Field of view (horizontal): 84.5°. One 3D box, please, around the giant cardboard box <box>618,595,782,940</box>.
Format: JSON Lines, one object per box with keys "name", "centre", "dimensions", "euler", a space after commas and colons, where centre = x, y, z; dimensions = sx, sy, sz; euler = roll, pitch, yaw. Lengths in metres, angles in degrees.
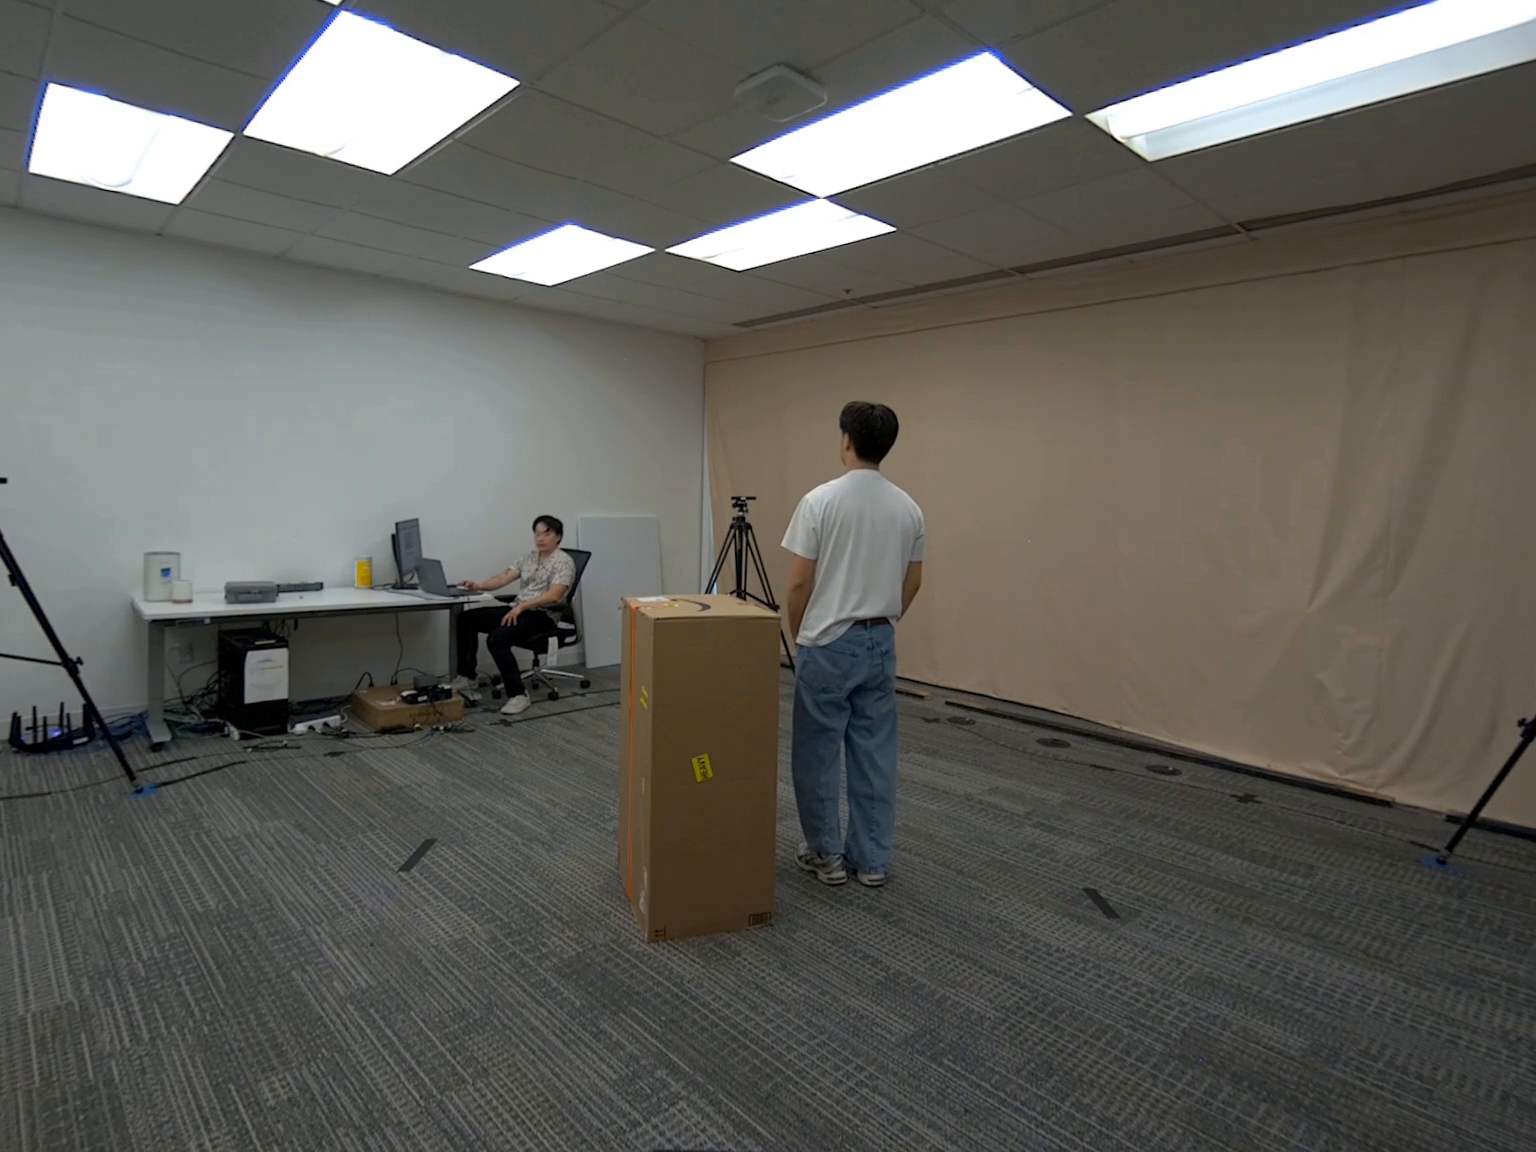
{"name": "giant cardboard box", "centre": [-0.267, 0.610, 2.921], "dimensions": [0.420, 1.023, 0.587], "euler": [0, 4, -20]}
